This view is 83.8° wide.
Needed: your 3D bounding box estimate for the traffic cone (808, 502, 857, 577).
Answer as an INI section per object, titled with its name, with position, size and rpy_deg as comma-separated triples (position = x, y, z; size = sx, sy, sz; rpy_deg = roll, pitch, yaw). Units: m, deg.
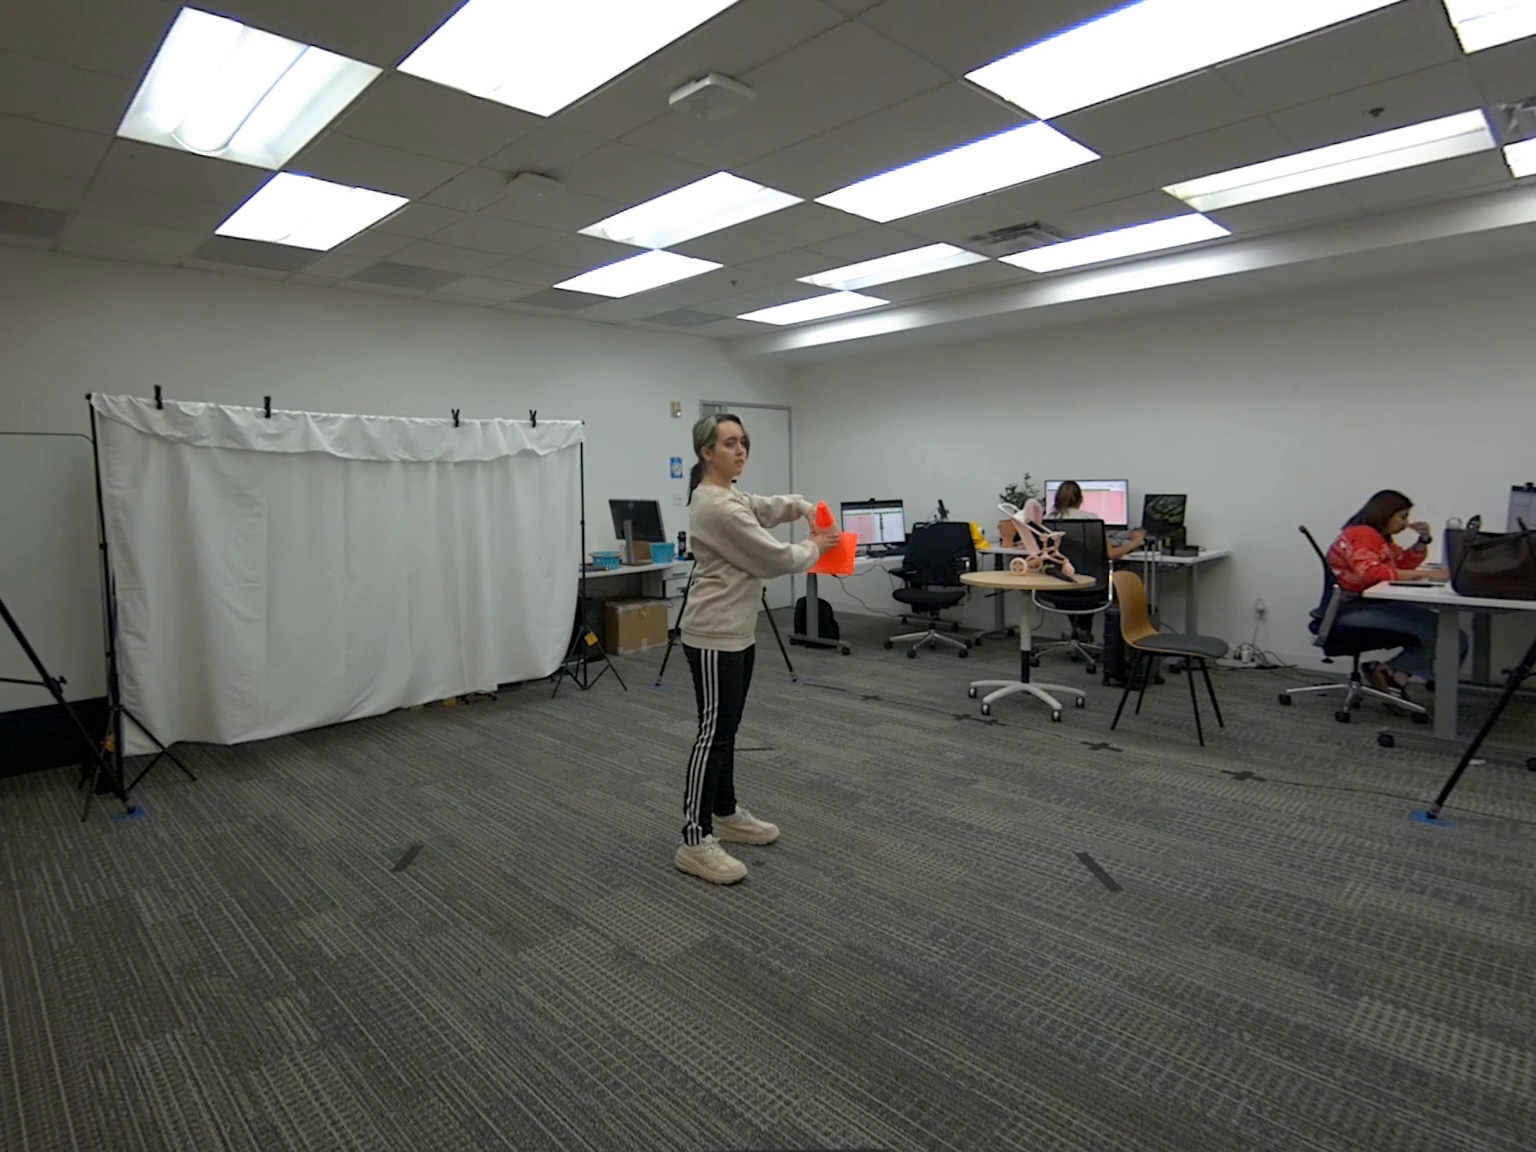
[traffic cone]
position = 0.231, -0.174, 3.390
size = 0.207, 0.208, 0.371
rpy_deg = 7, -24, 17
